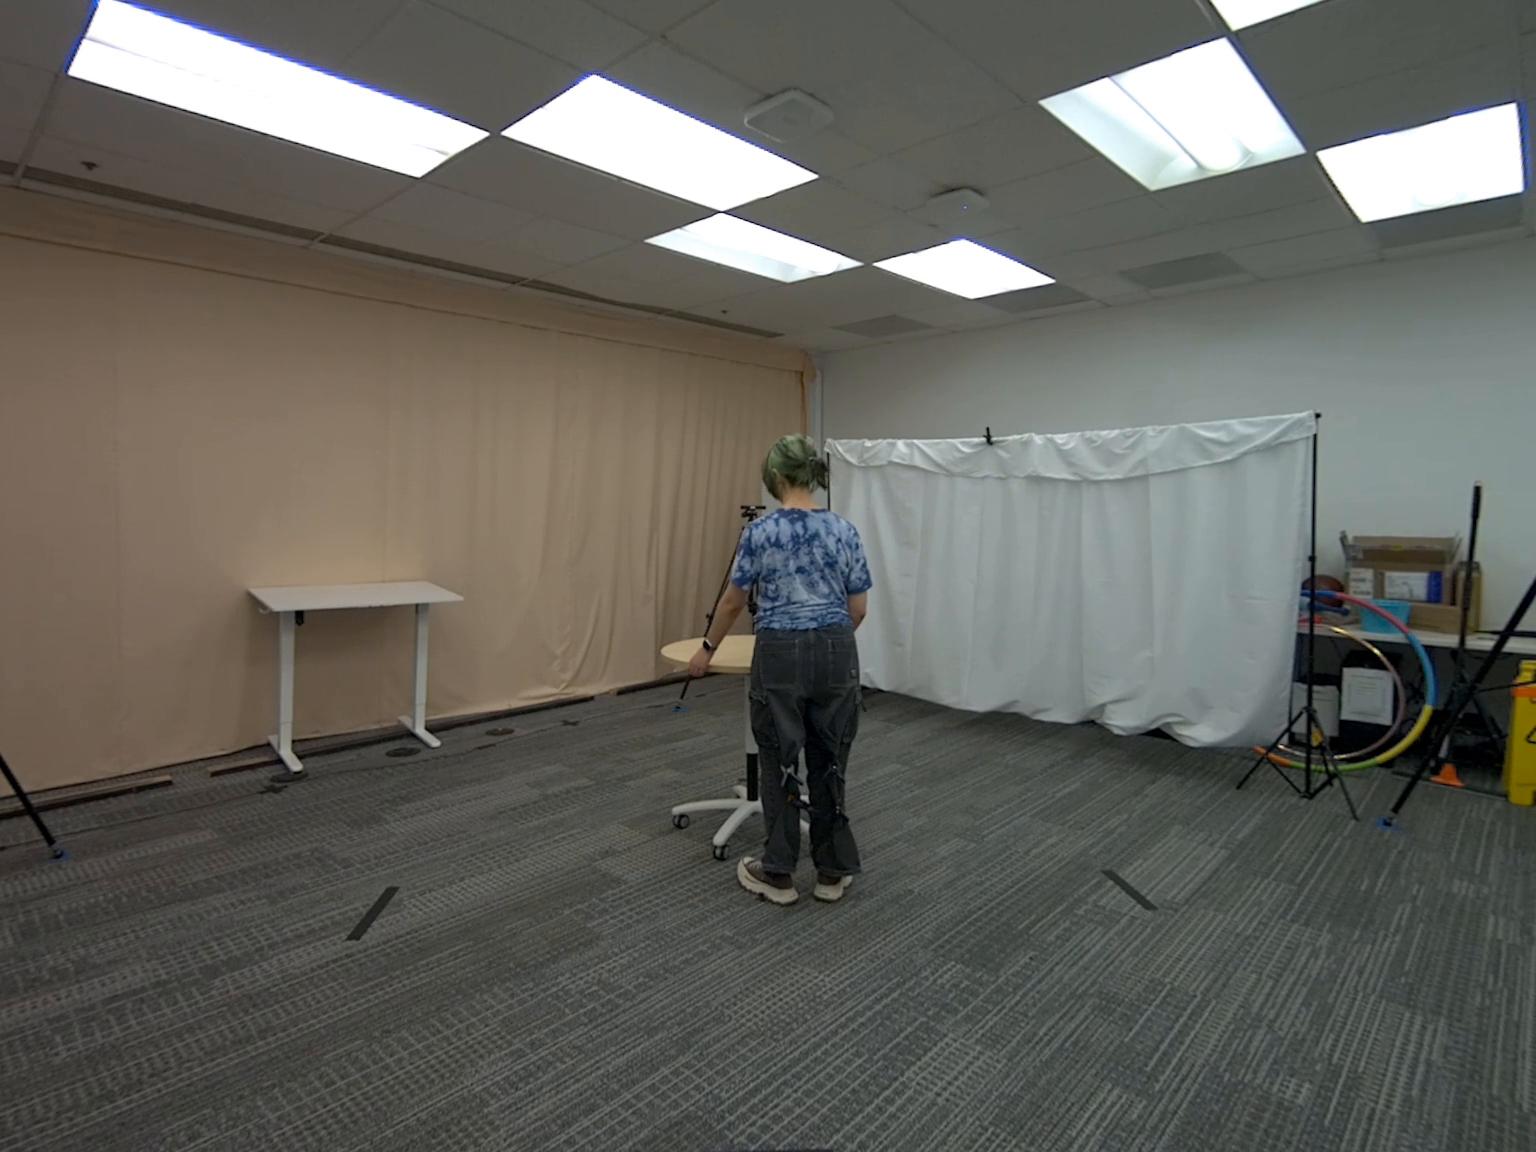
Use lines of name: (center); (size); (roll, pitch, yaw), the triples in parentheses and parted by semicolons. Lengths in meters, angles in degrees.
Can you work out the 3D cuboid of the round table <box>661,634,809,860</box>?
round table: (-0.067, 0.703, 3.577); (0.763, 0.792, 0.766); (-1, 3, -2)
